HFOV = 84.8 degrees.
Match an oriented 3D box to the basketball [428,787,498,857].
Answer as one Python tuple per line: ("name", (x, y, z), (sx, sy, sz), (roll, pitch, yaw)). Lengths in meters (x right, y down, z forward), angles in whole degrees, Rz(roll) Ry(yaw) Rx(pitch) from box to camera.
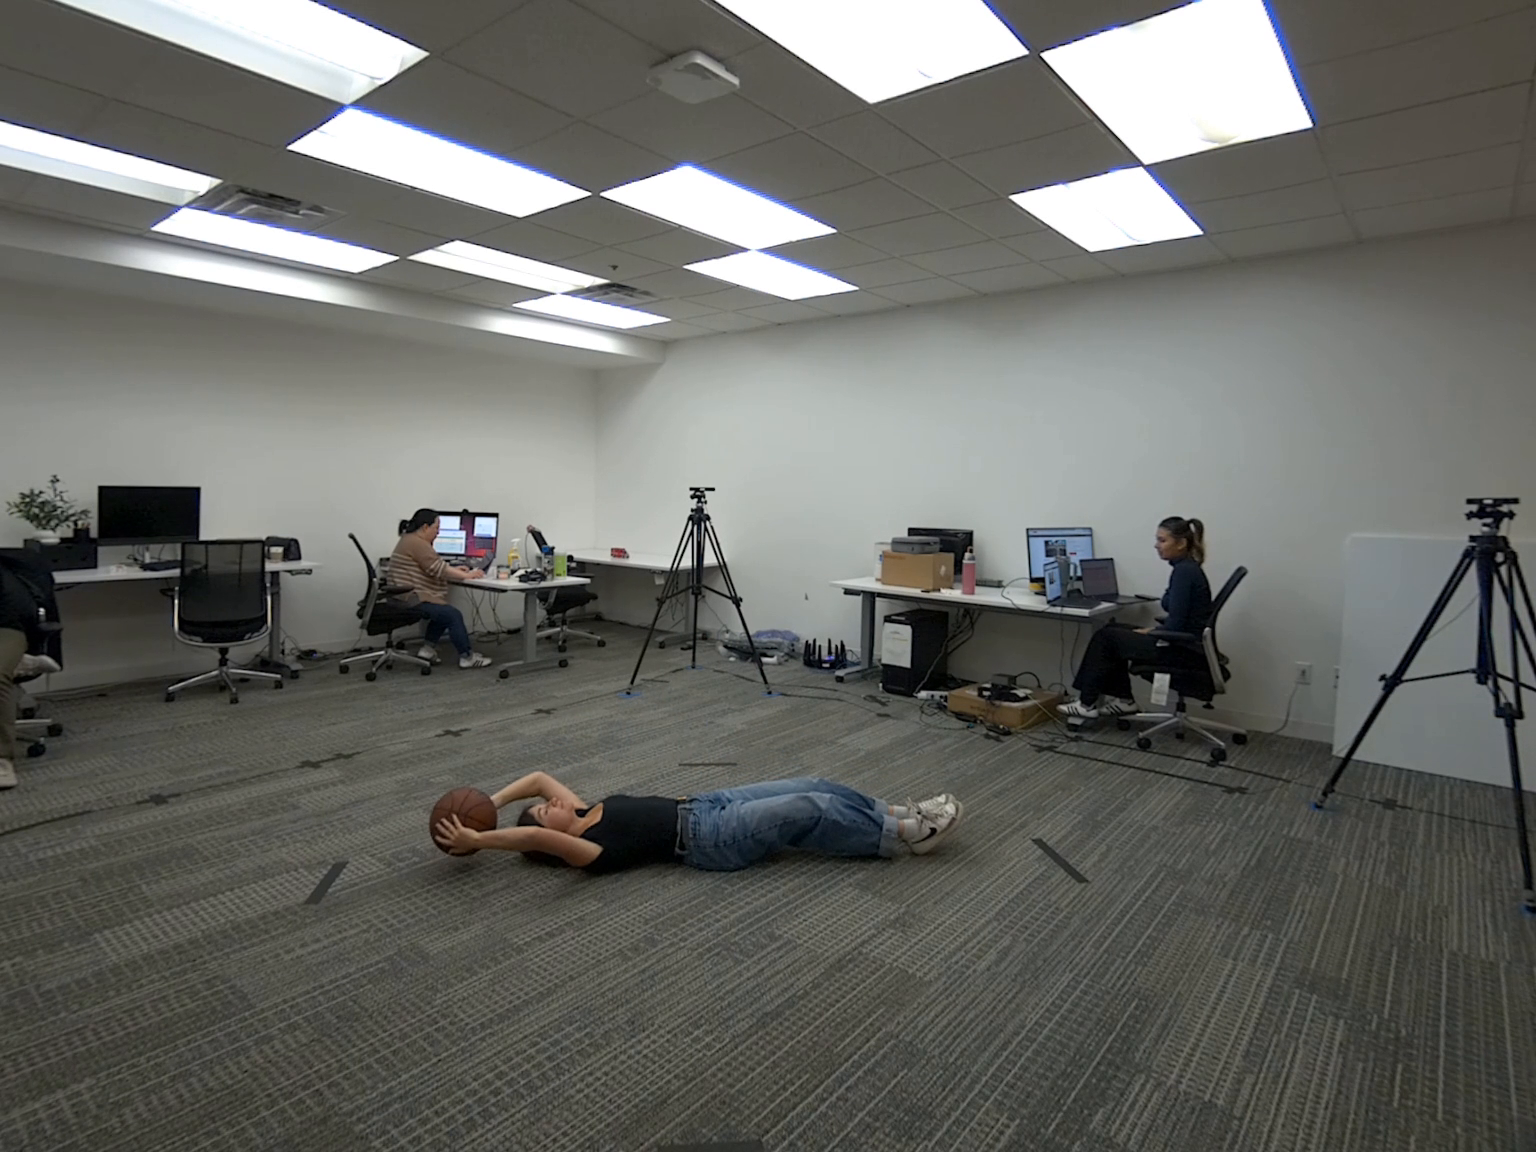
("basketball", (-1.126, 0.882, 3.081), (0.235, 0.235, 0.237), (1, 4, -2))
